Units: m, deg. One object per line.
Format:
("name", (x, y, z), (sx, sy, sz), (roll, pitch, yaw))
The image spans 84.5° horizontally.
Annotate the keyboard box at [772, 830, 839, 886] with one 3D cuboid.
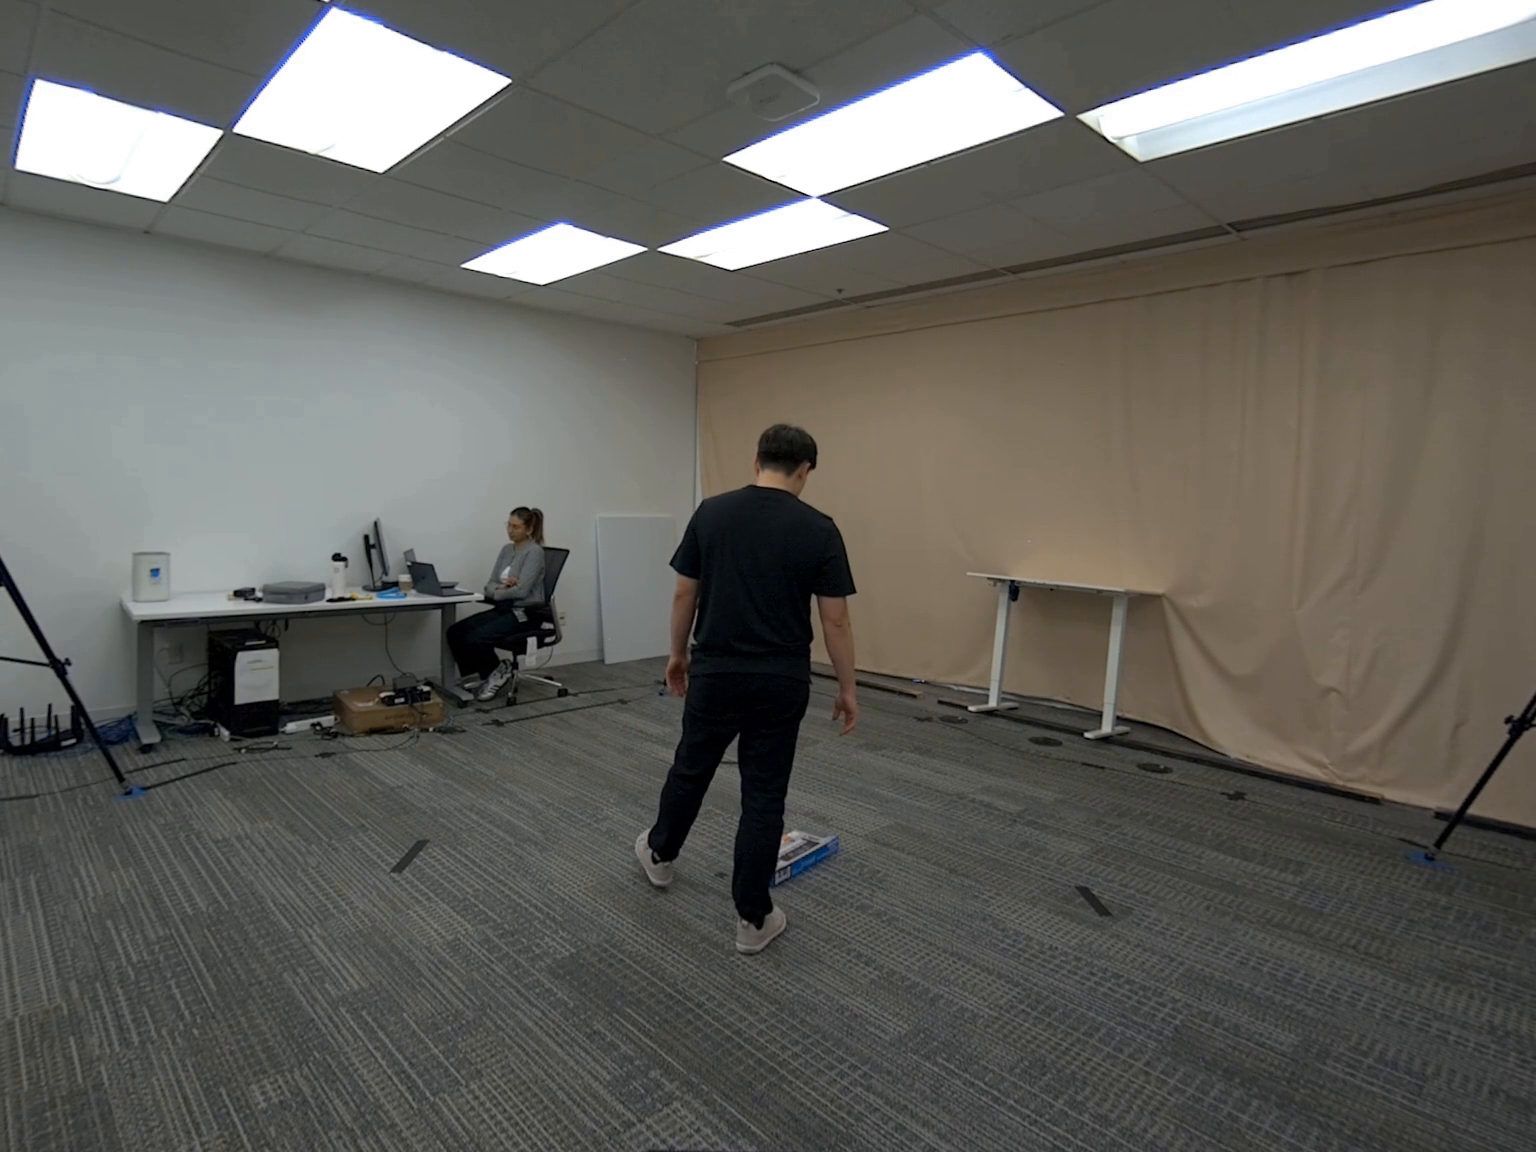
("keyboard box", (0.074, 1.068, 3.223), (0.180, 0.059, 0.427), (5, 6, 38))
